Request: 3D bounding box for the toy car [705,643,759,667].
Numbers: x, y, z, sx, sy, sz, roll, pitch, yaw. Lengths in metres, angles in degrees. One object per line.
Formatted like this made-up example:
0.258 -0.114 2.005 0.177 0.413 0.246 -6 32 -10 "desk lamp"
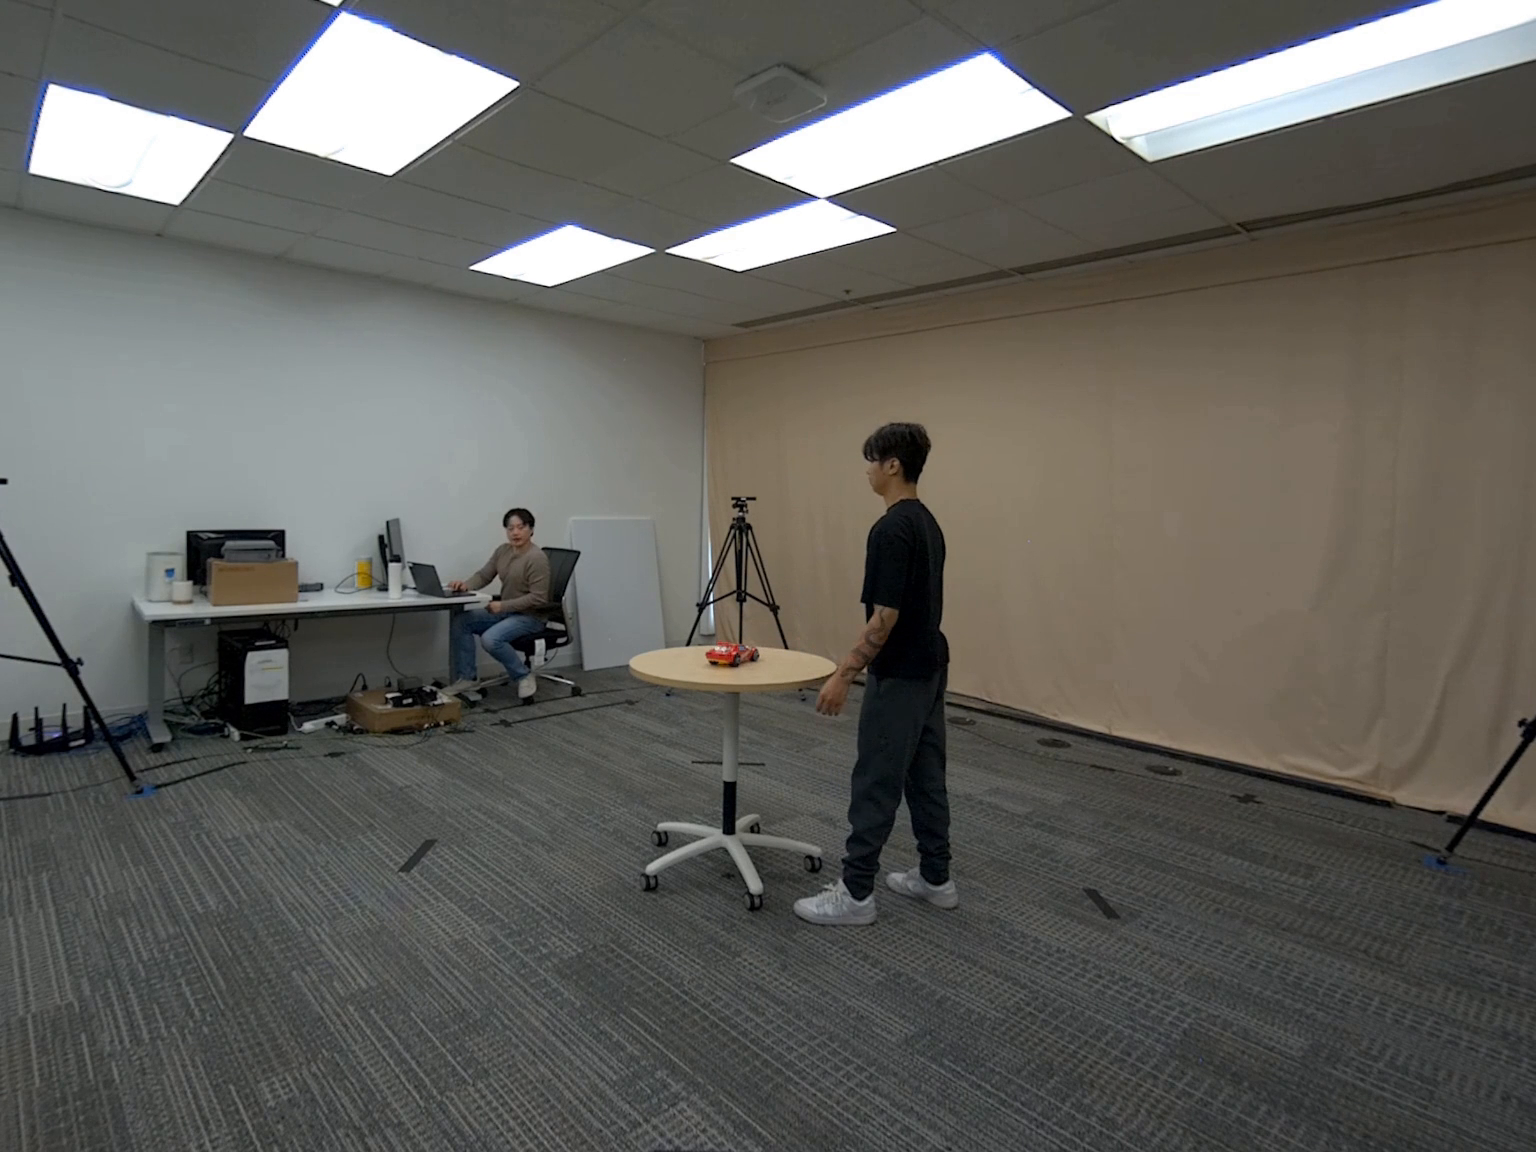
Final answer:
-0.140 0.290 3.107 0.133 0.083 0.248 3 -6 28 "toy car"
